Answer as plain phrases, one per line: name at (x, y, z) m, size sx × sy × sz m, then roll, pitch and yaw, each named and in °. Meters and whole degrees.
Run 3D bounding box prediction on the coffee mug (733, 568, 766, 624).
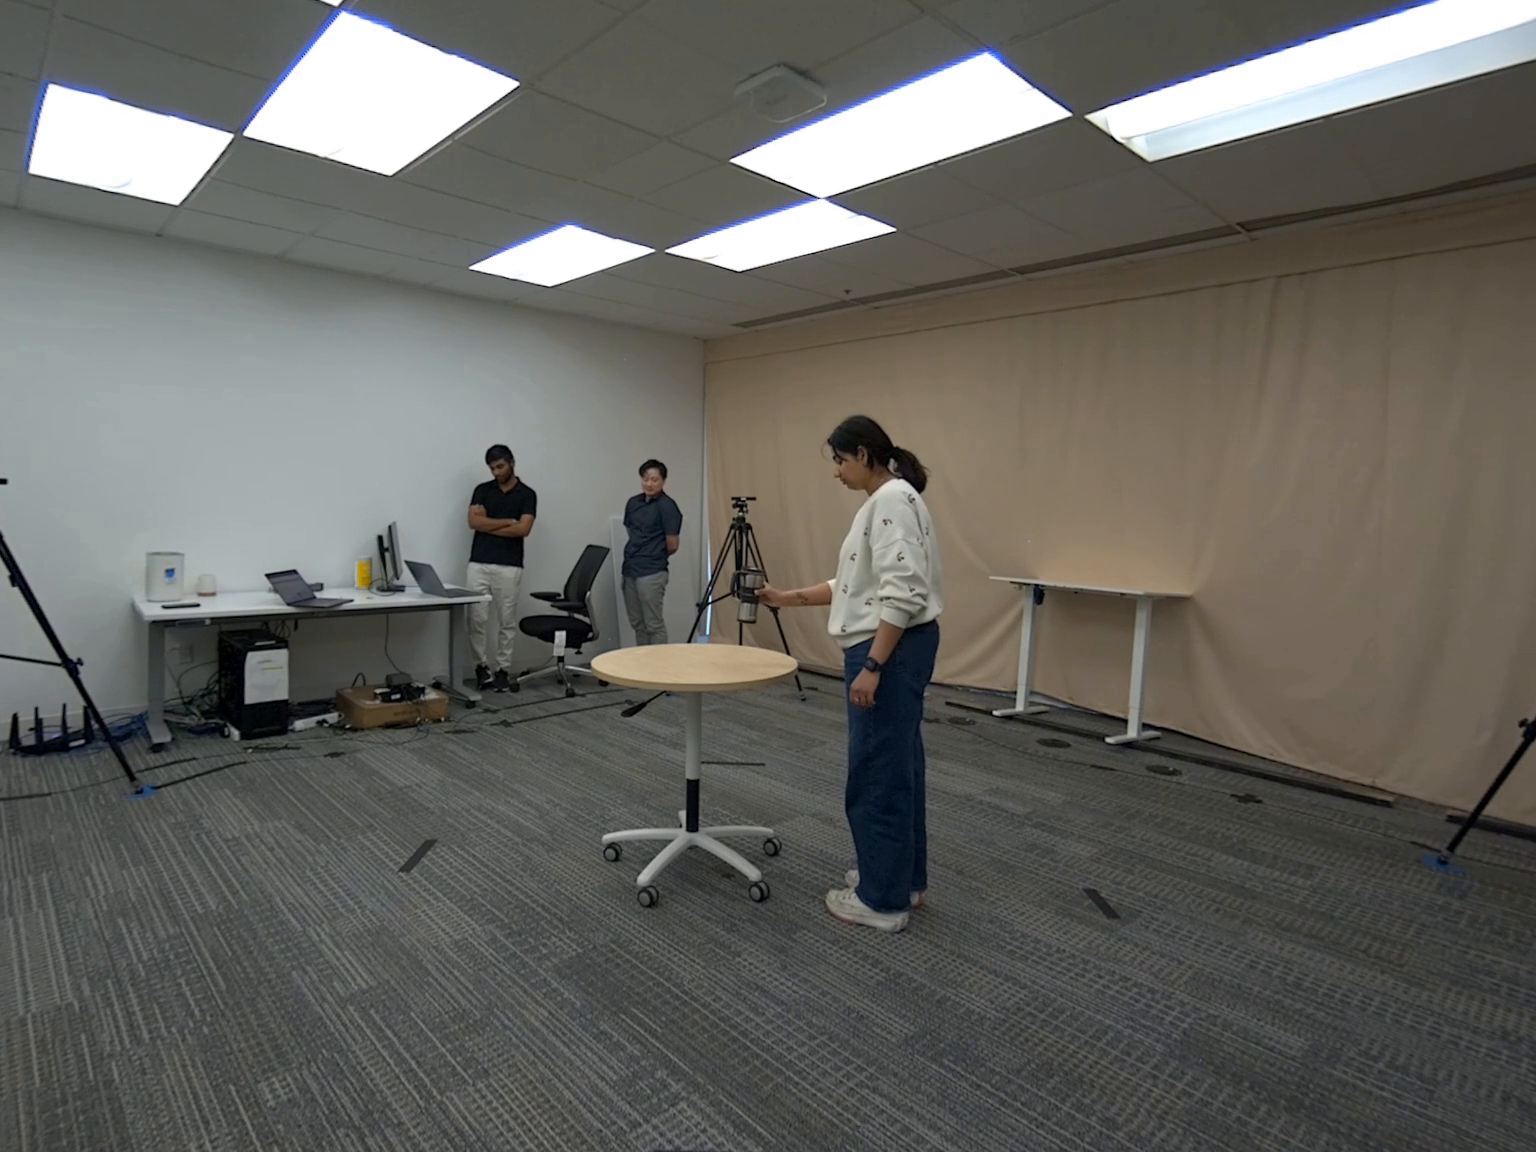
coffee mug at (-0.089, 0.068, 3.063) m, size 0.120 × 0.202 × 0.089 m, roll 7°, pitch 3°, yaw -17°
